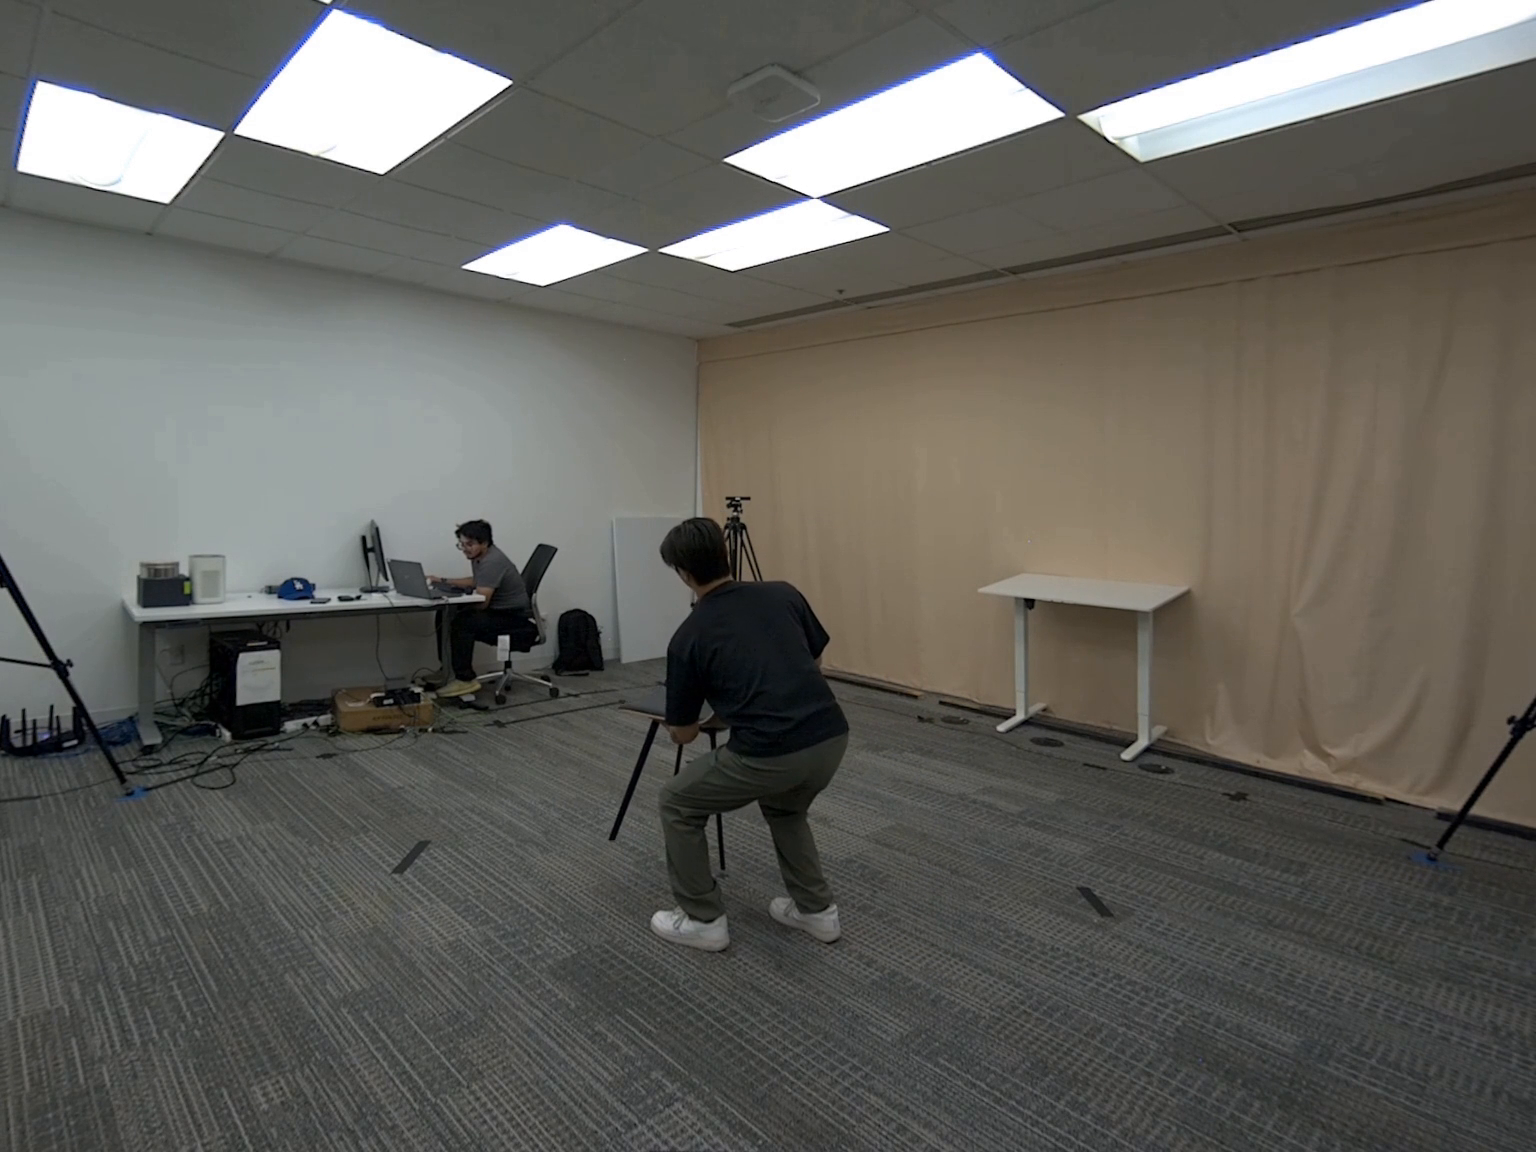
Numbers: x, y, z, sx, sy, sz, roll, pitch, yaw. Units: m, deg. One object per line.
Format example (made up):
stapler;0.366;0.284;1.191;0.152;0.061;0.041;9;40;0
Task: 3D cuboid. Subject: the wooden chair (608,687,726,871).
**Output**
wooden chair;-0.257;0.530;3.076;0.534;0.874;0.470;9;6;24
